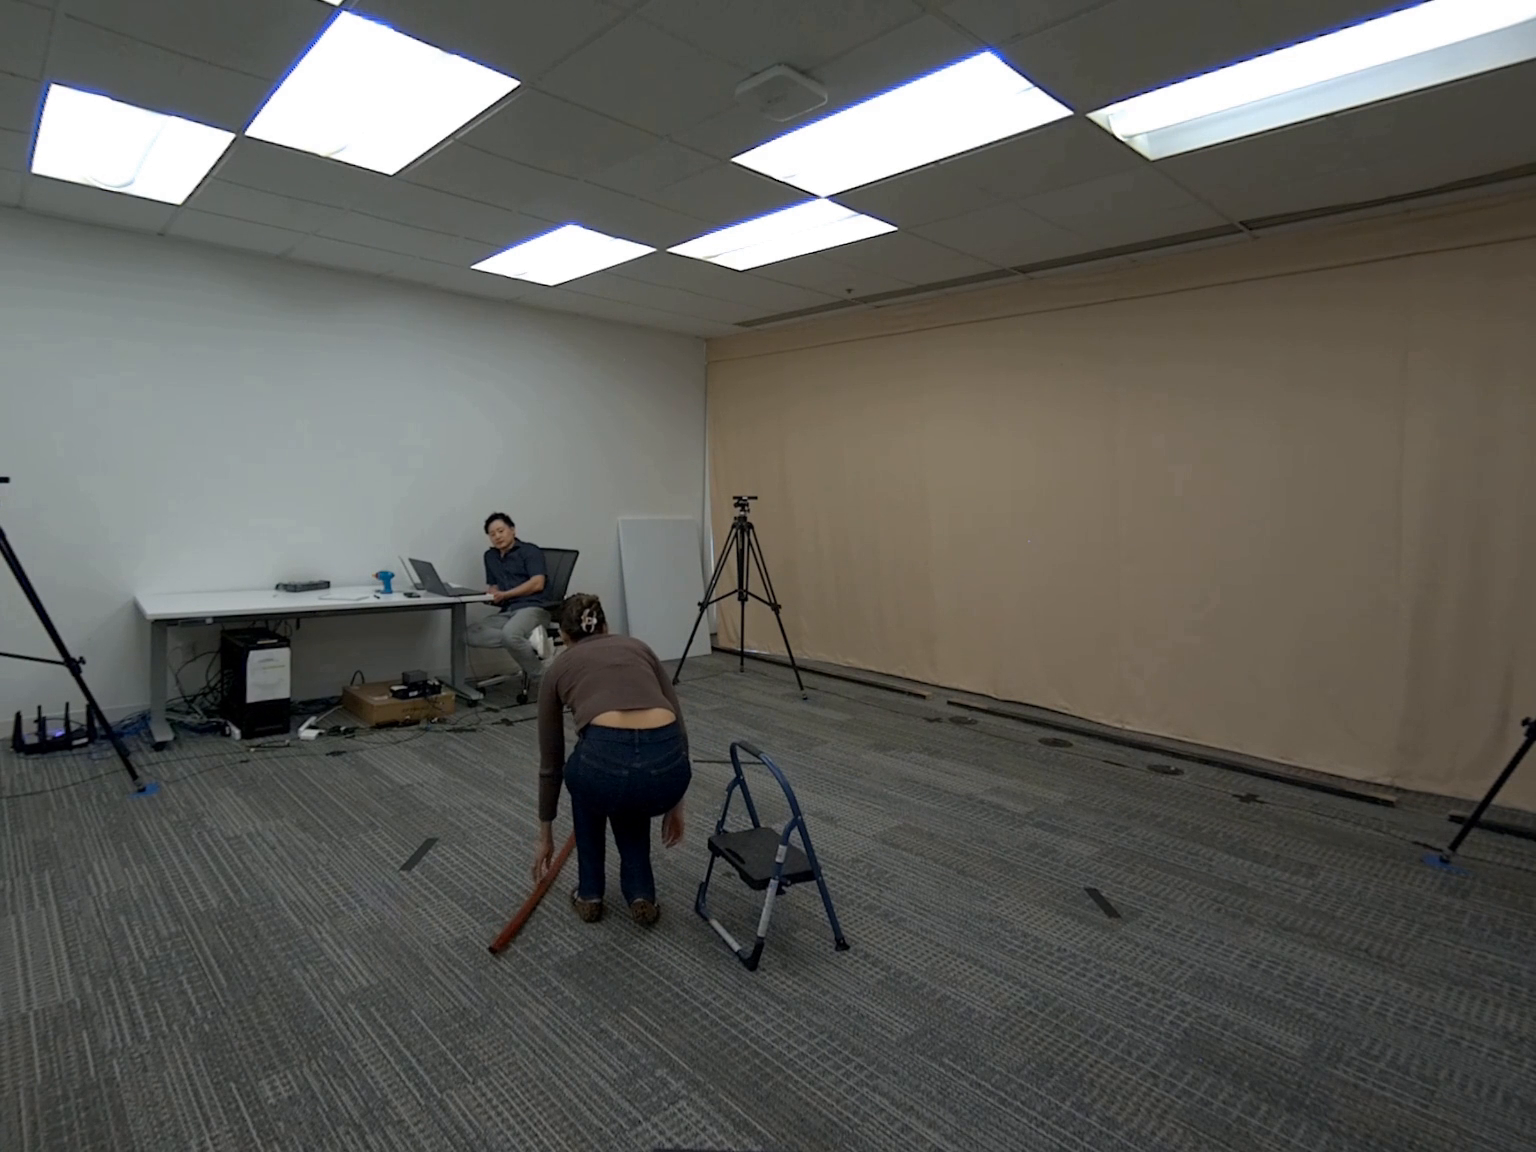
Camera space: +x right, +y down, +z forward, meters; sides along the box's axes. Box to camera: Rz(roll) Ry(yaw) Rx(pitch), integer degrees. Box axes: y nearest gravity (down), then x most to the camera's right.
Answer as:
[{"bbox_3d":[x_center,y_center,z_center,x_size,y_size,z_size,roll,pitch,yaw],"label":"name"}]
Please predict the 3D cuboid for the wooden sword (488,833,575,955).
[{"bbox_3d":[-0.772,1.060,3.010,0.051,0.024,1.025,-18,5,4],"label":"wooden sword"}]
